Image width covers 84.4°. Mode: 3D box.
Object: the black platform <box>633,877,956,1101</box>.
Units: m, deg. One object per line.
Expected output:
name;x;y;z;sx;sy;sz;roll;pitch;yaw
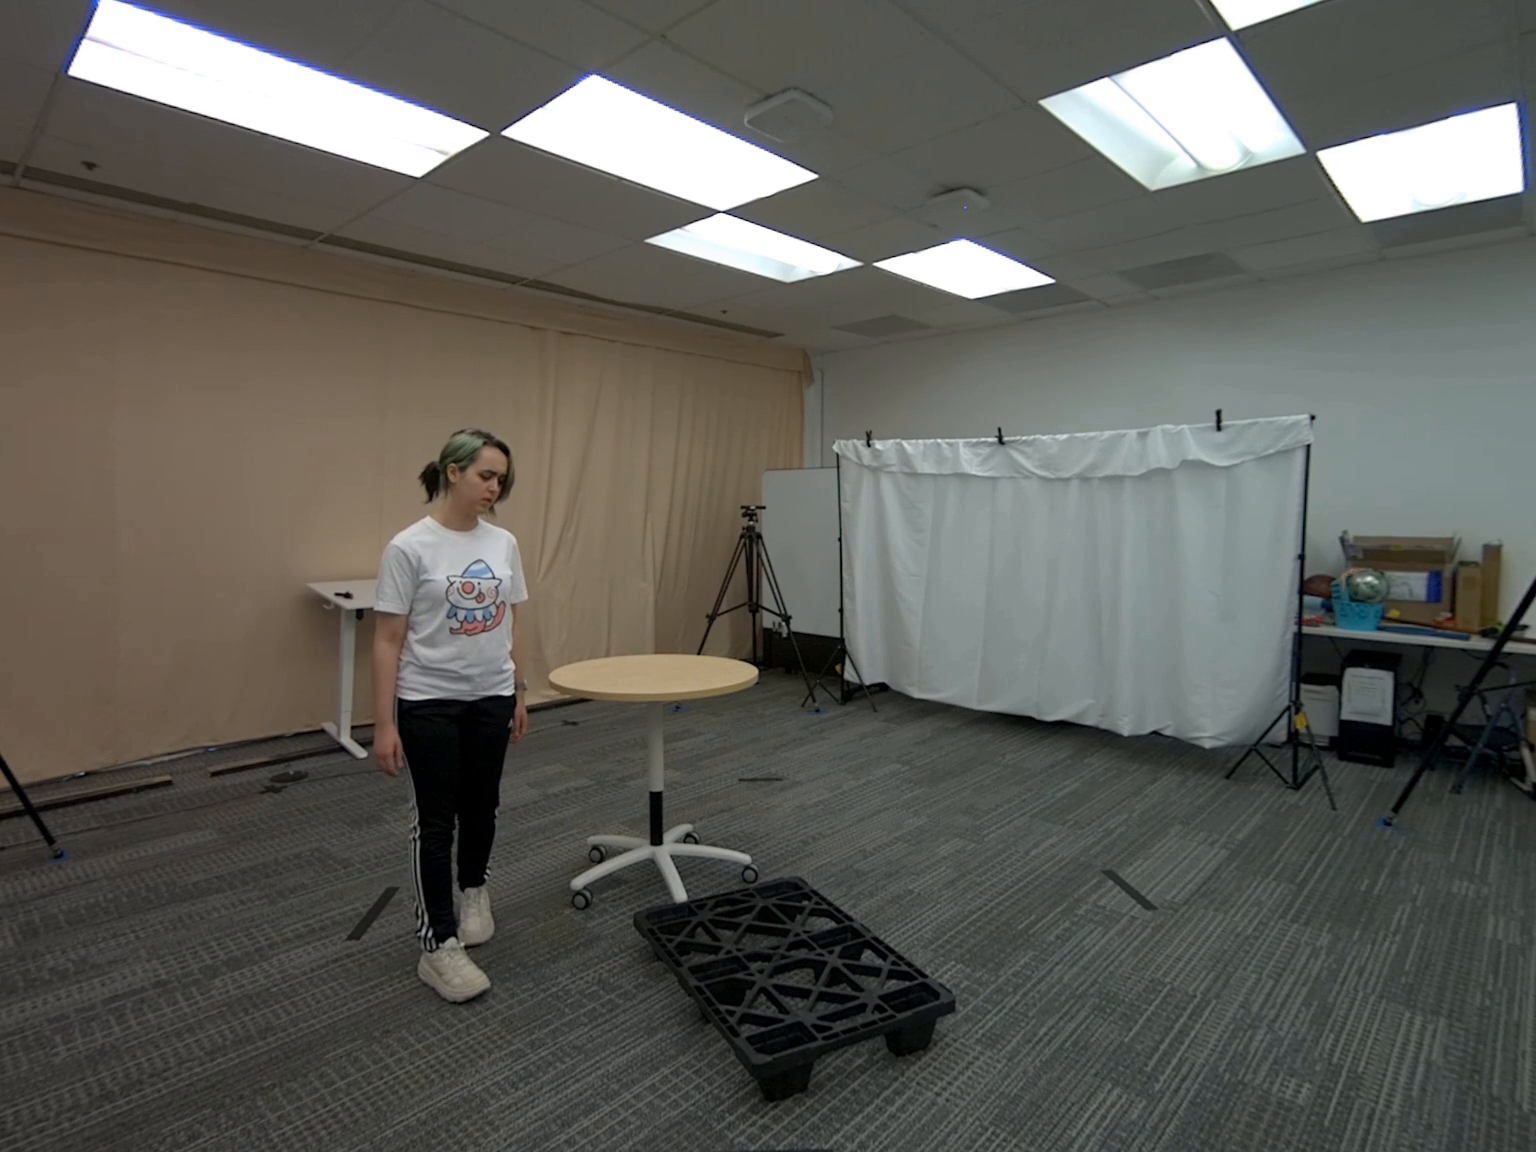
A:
black platform;0.035;1.128;2.379;0.590;0.143;0.828;-3;6;-28
